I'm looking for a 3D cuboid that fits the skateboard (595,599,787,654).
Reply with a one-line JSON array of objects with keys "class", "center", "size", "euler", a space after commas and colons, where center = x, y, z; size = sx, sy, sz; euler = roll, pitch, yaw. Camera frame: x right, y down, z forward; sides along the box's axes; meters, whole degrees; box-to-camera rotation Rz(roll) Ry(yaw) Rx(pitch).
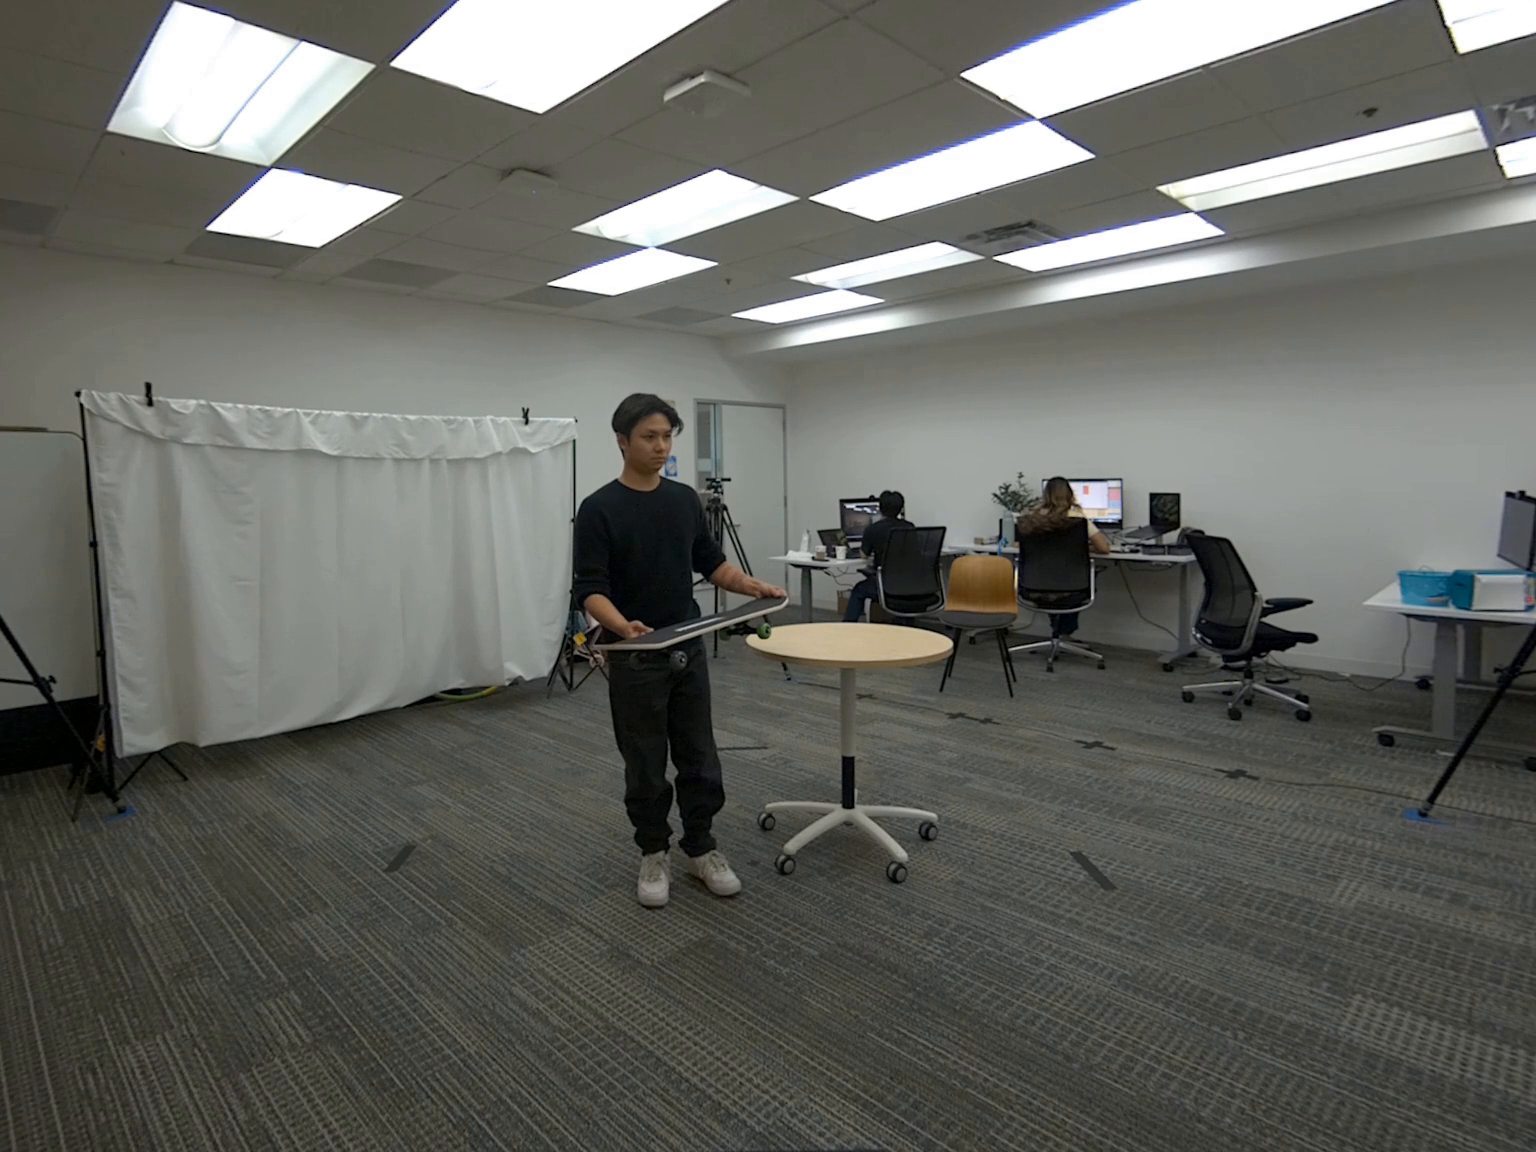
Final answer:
[{"class": "skateboard", "center": [-0.203, 0.178, 2.526], "size": [0.198, 0.110, 0.768], "euler": [-7, 5, 38]}]
